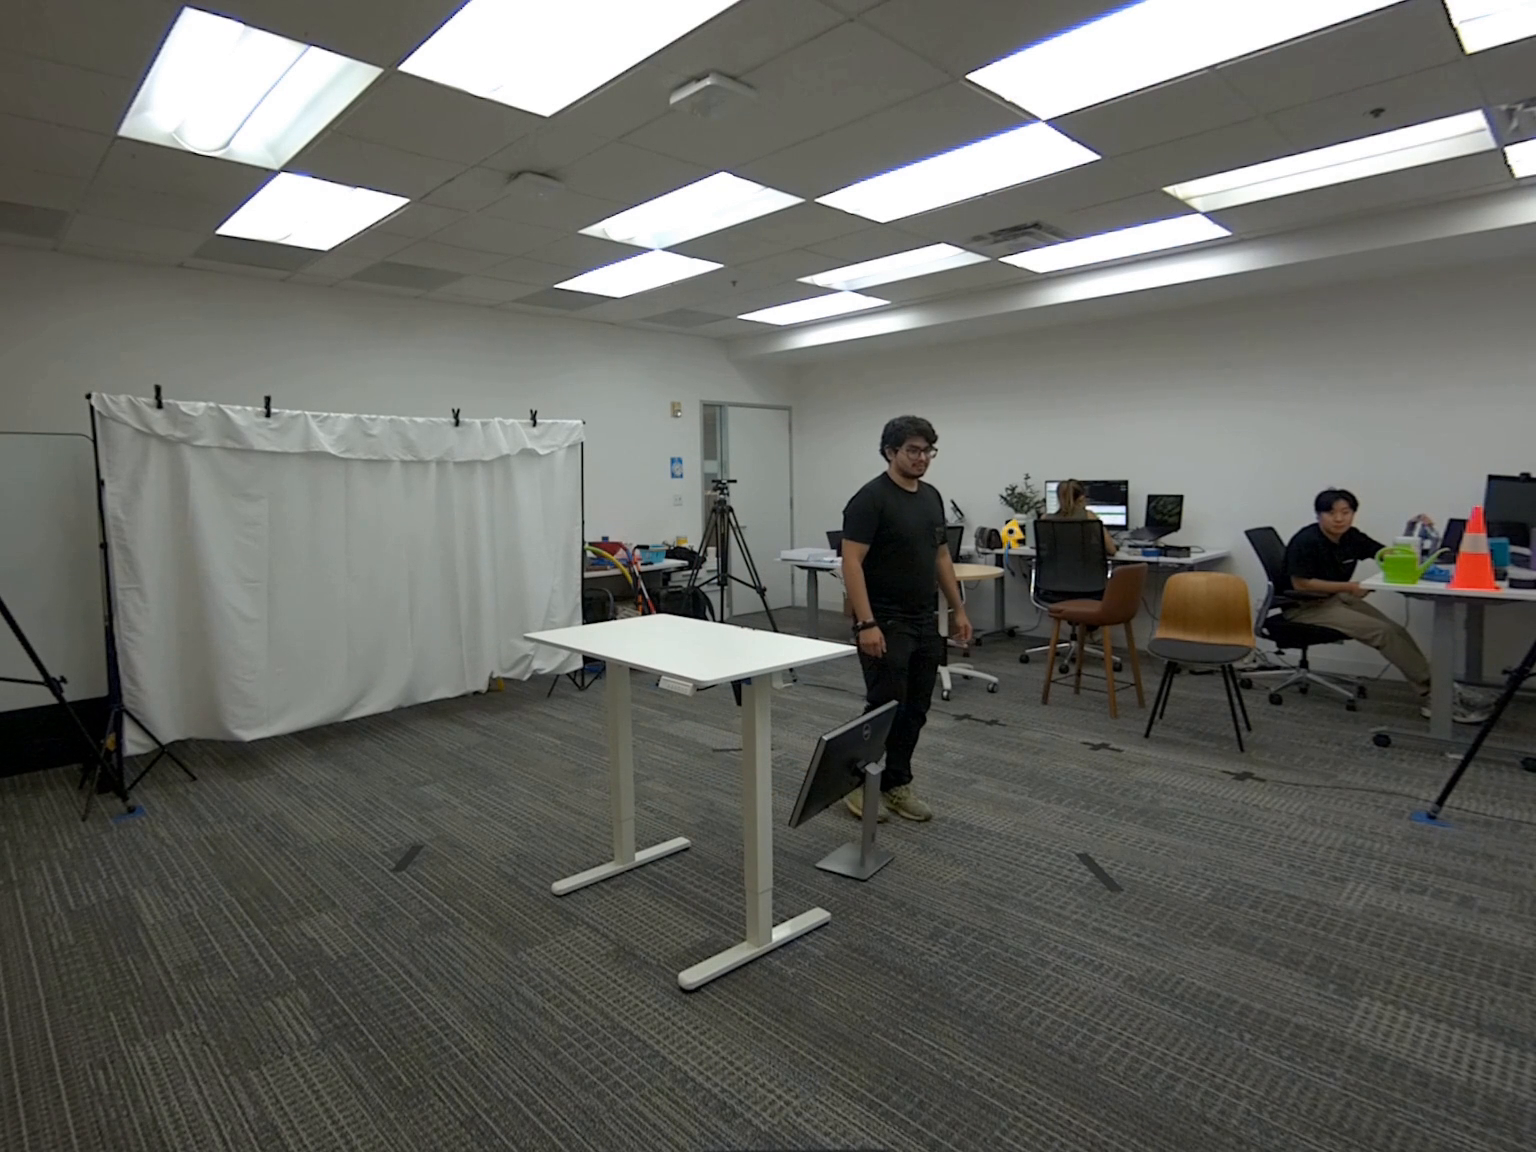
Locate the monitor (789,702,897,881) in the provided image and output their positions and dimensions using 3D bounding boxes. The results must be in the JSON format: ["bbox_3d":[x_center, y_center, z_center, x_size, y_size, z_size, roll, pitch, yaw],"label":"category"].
[{"bbox_3d":[0.337,0.779,3.072,0.217,0.550,0.552,13,12,33],"label":"monitor"}]
